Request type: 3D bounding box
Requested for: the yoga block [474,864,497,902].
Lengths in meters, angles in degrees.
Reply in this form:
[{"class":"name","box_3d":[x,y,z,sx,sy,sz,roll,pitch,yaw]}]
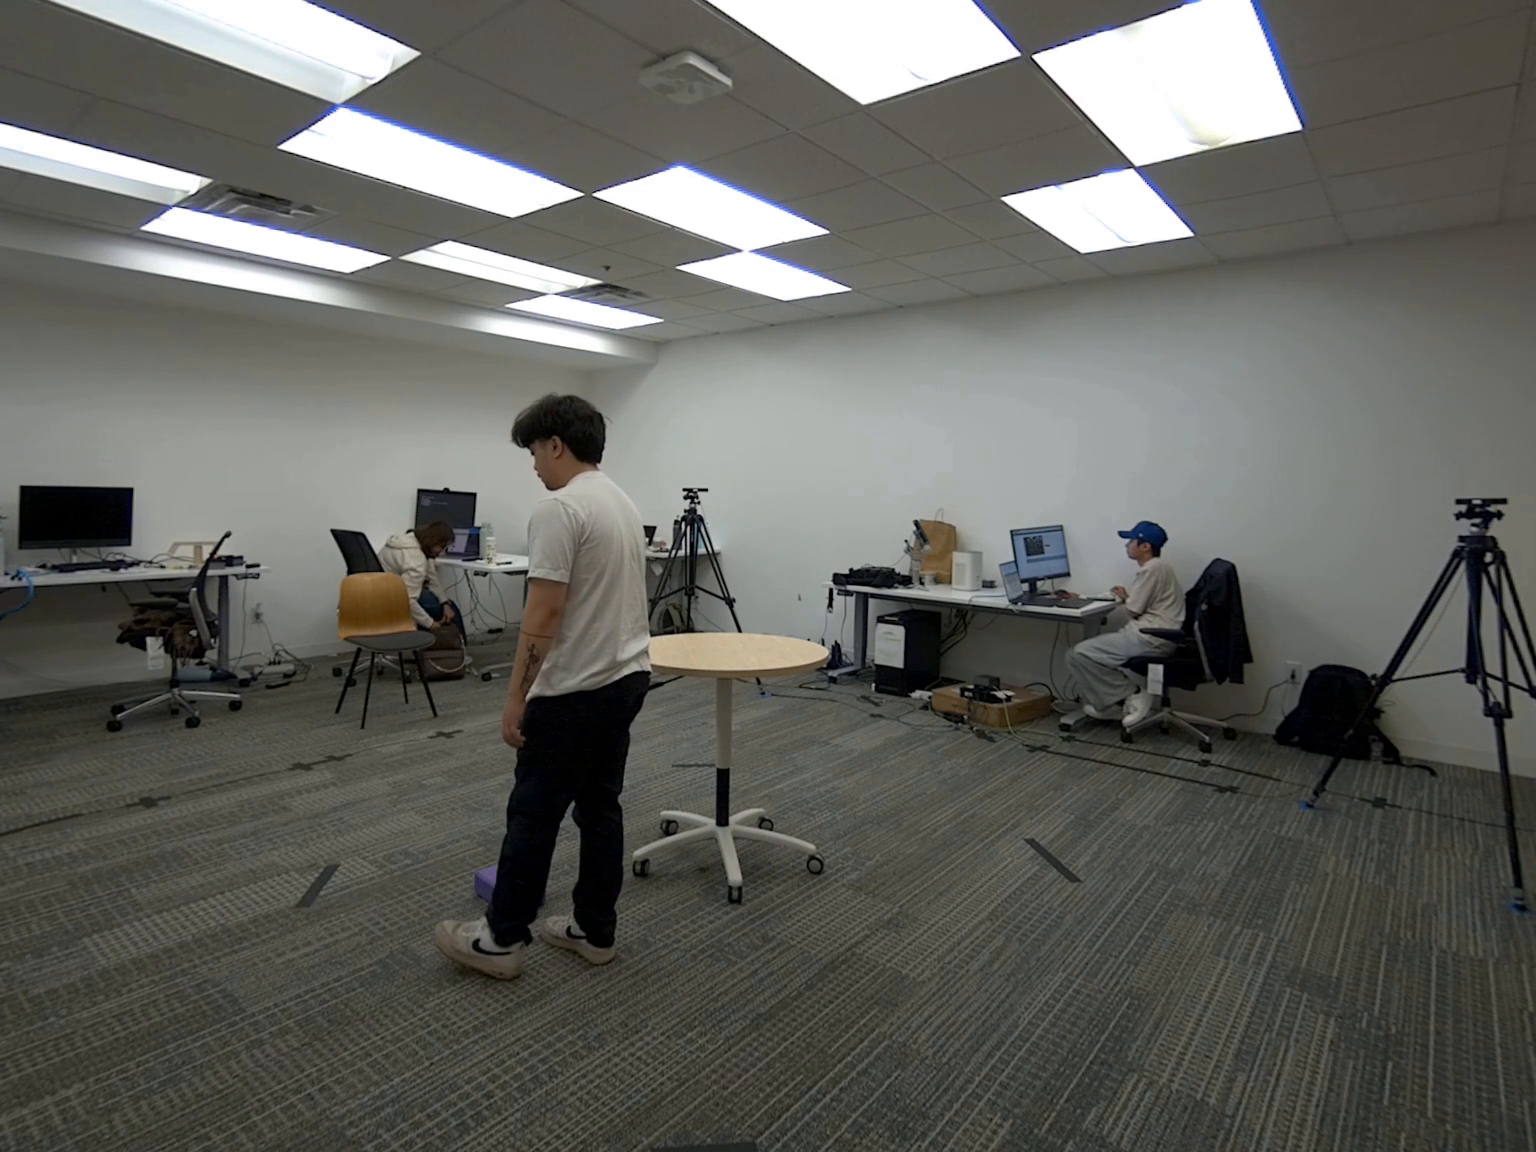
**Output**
[{"class":"yoga block","box_3d":[-0.875,1.041,2.859,0.237,0.076,0.144,4,6,44]}]
